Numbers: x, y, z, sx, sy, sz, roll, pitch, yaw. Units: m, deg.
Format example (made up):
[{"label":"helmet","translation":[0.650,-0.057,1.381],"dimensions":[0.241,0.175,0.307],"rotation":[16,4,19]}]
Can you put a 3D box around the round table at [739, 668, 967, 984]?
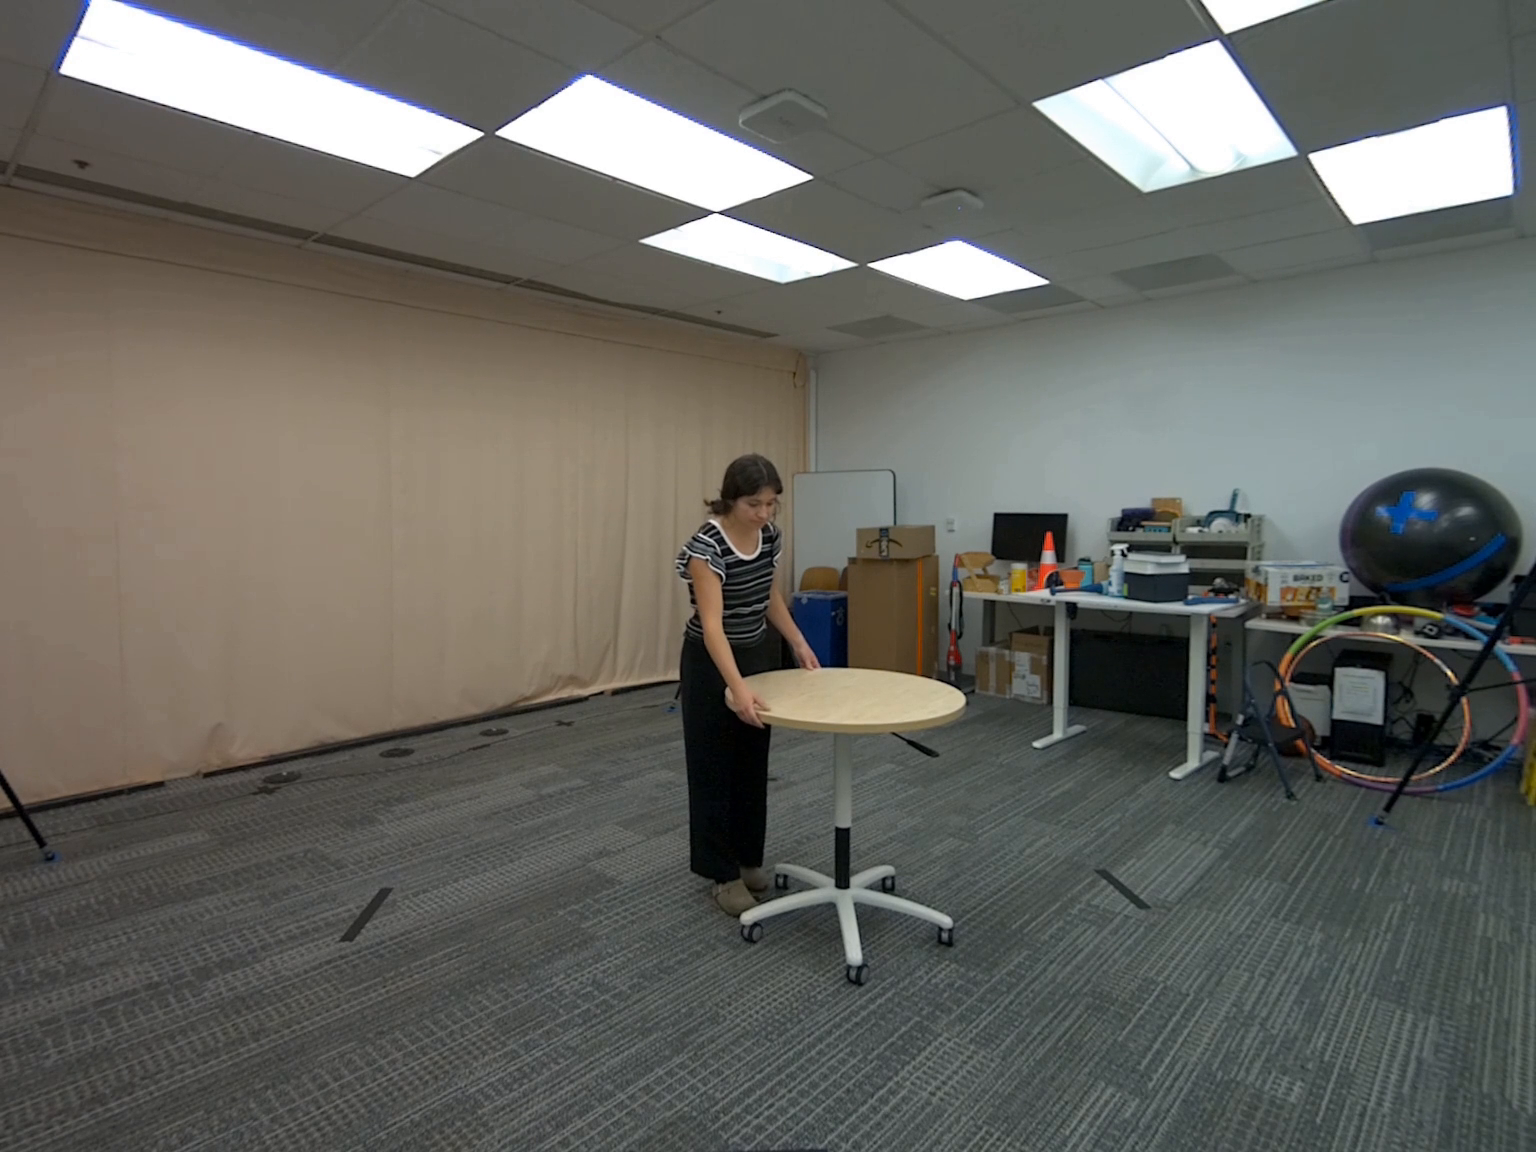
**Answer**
[{"label":"round table","translation":[0.239,0.766,2.755],"dimensions":[0.784,0.785,0.788],"rotation":[0,4,-2]}]
